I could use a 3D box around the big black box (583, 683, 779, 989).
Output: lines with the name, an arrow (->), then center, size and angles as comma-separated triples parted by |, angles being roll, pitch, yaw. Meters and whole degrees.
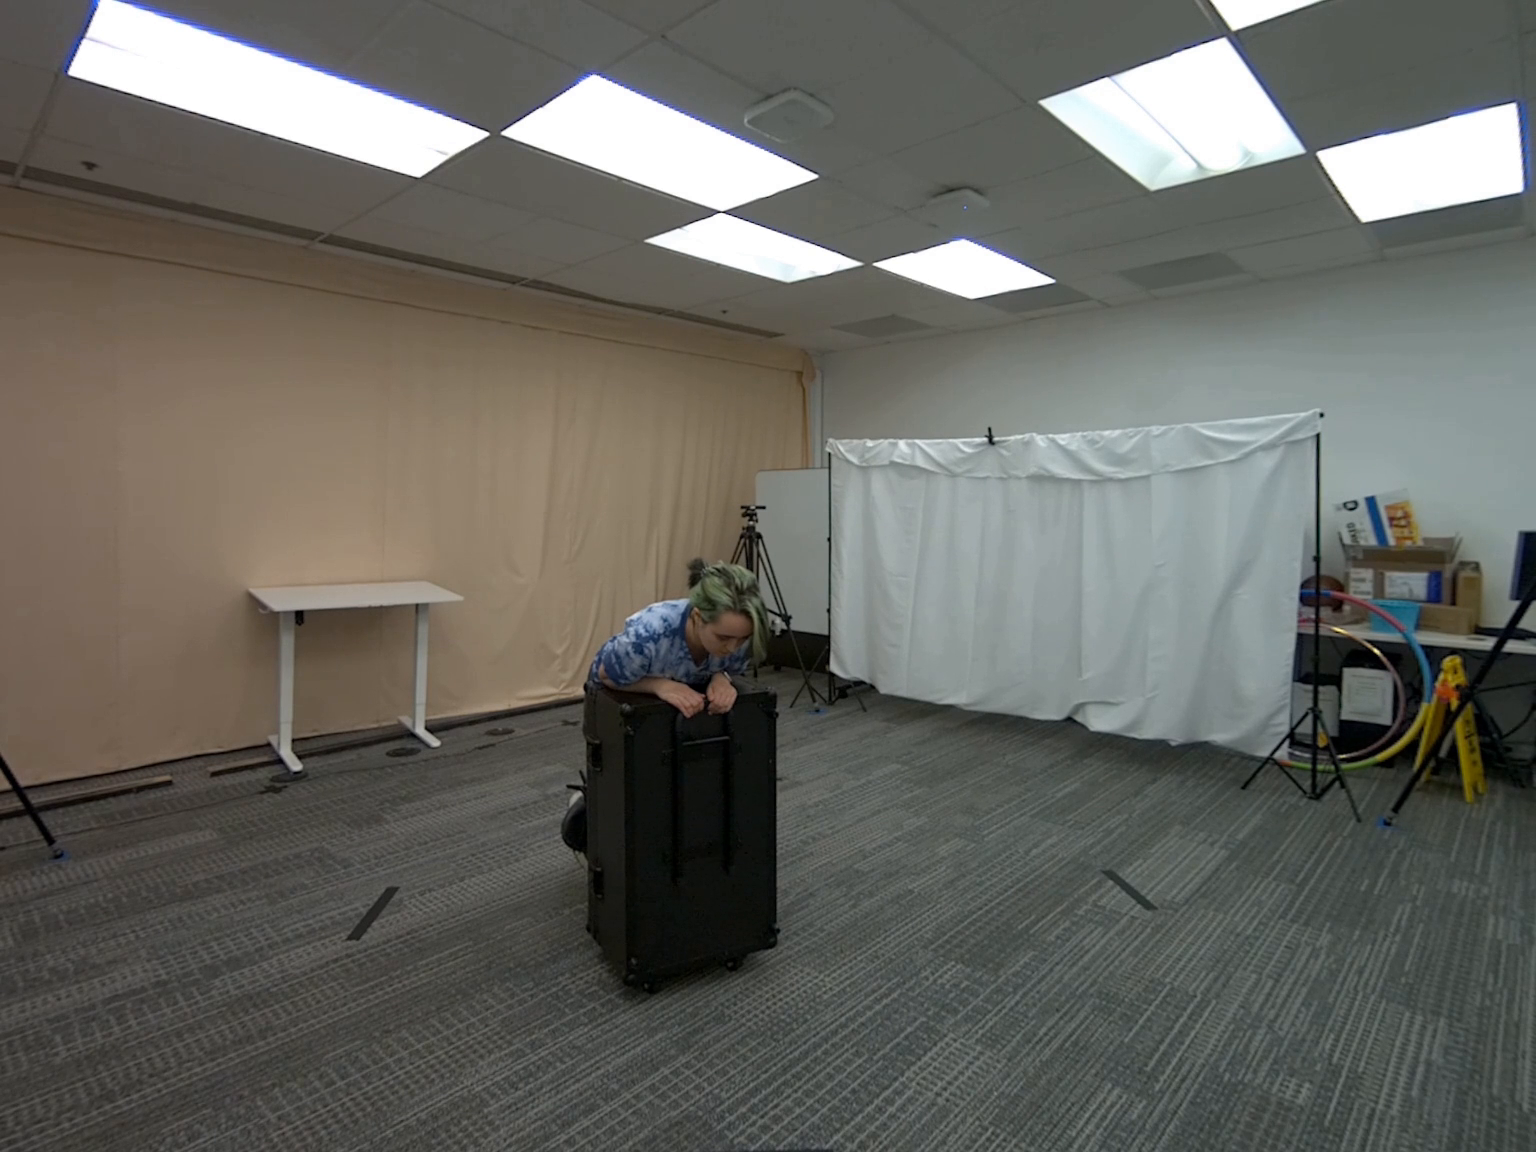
big black box -> -0.260, 0.706, 2.542 | 0.508, 0.859, 0.407 | -2, 4, -27
